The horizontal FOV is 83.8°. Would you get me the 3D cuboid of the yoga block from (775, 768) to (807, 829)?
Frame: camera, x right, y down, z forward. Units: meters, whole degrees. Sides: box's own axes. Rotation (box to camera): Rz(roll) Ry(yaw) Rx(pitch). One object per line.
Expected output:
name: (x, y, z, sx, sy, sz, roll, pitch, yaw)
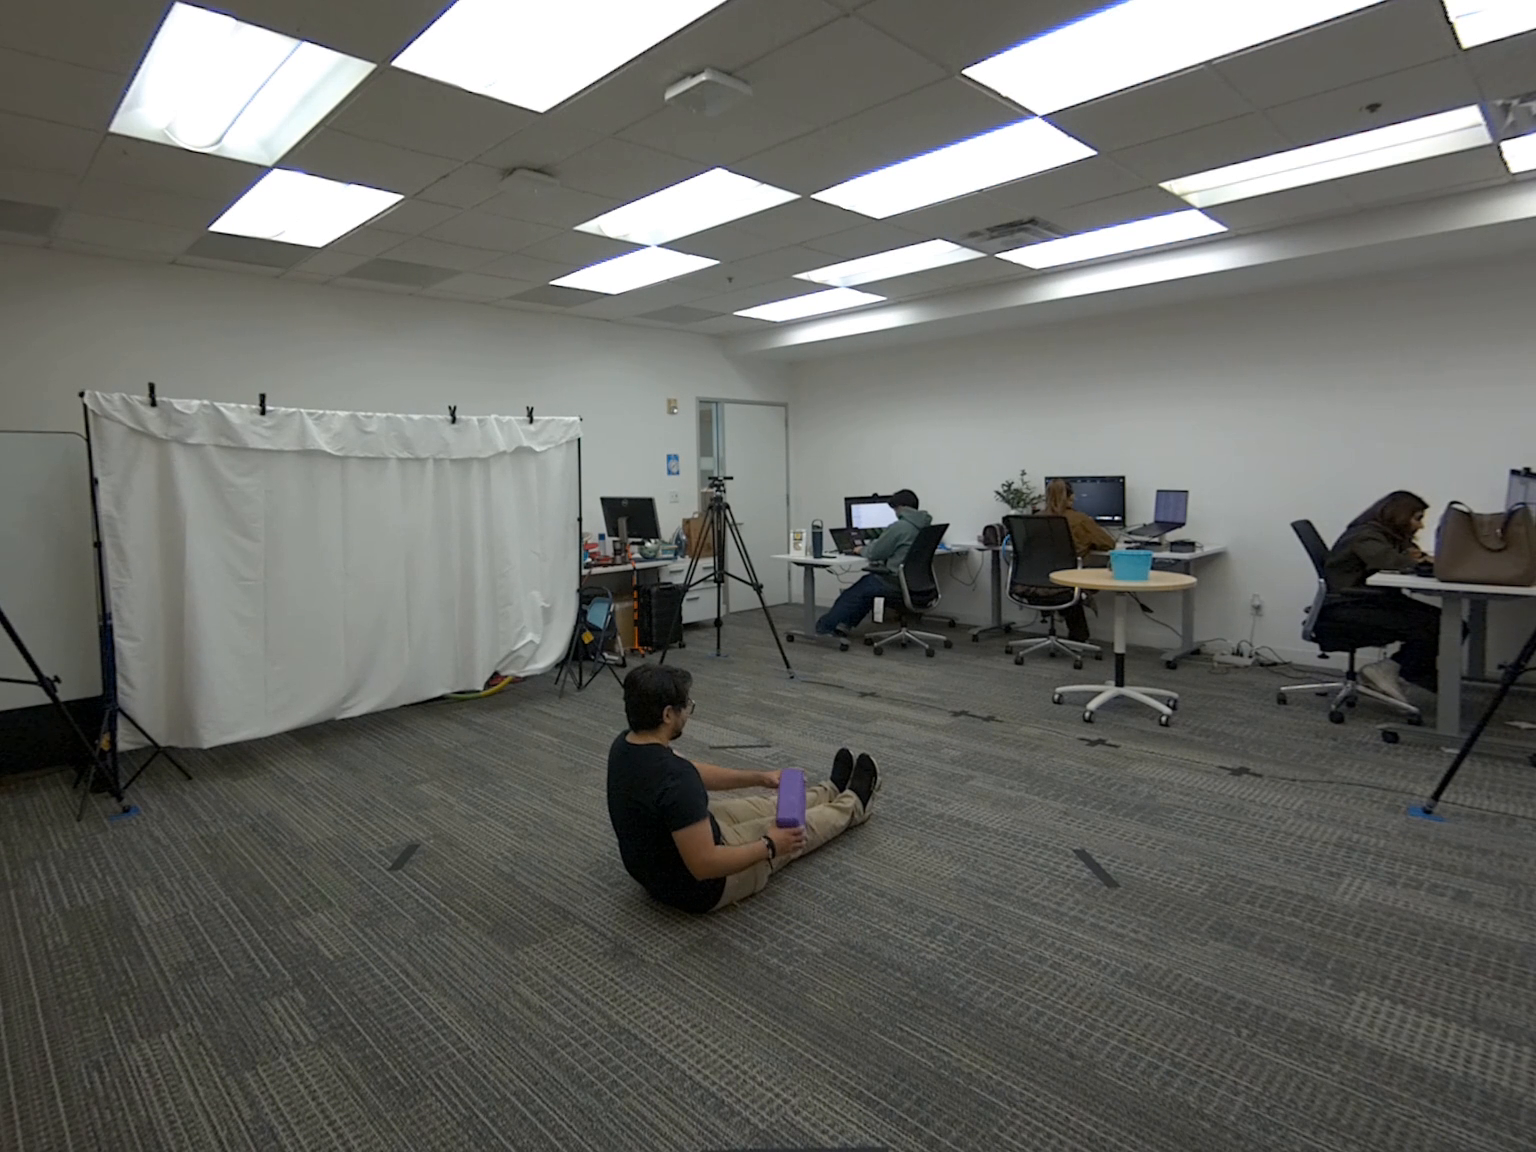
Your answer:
yoga block: (0.070, 0.778, 2.856, 0.077, 0.145, 0.234, -5, 32, 7)
